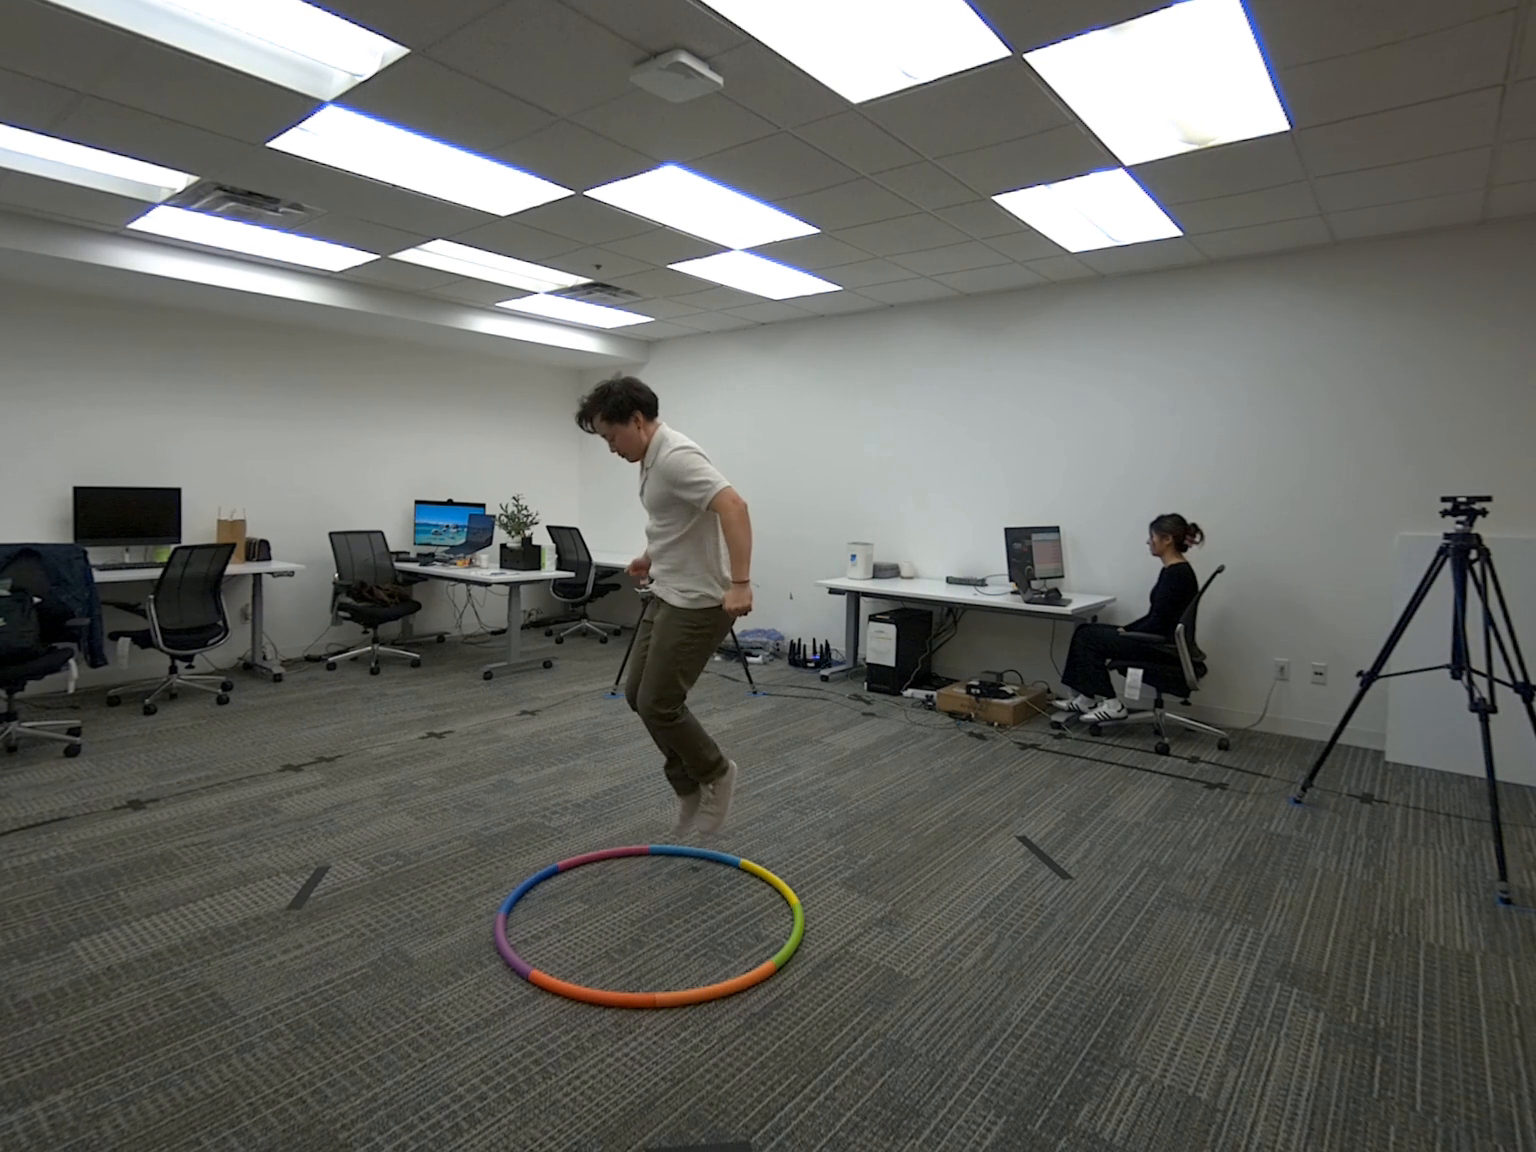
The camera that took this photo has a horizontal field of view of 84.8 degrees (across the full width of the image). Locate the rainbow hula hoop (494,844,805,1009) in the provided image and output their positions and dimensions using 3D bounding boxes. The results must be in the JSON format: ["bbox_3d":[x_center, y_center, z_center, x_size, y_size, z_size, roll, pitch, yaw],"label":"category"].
[{"bbox_3d":[-0.382,1.069,2.748,0.978,0.035,0.984,1,6,-2],"label":"rainbow hula hoop"}]
